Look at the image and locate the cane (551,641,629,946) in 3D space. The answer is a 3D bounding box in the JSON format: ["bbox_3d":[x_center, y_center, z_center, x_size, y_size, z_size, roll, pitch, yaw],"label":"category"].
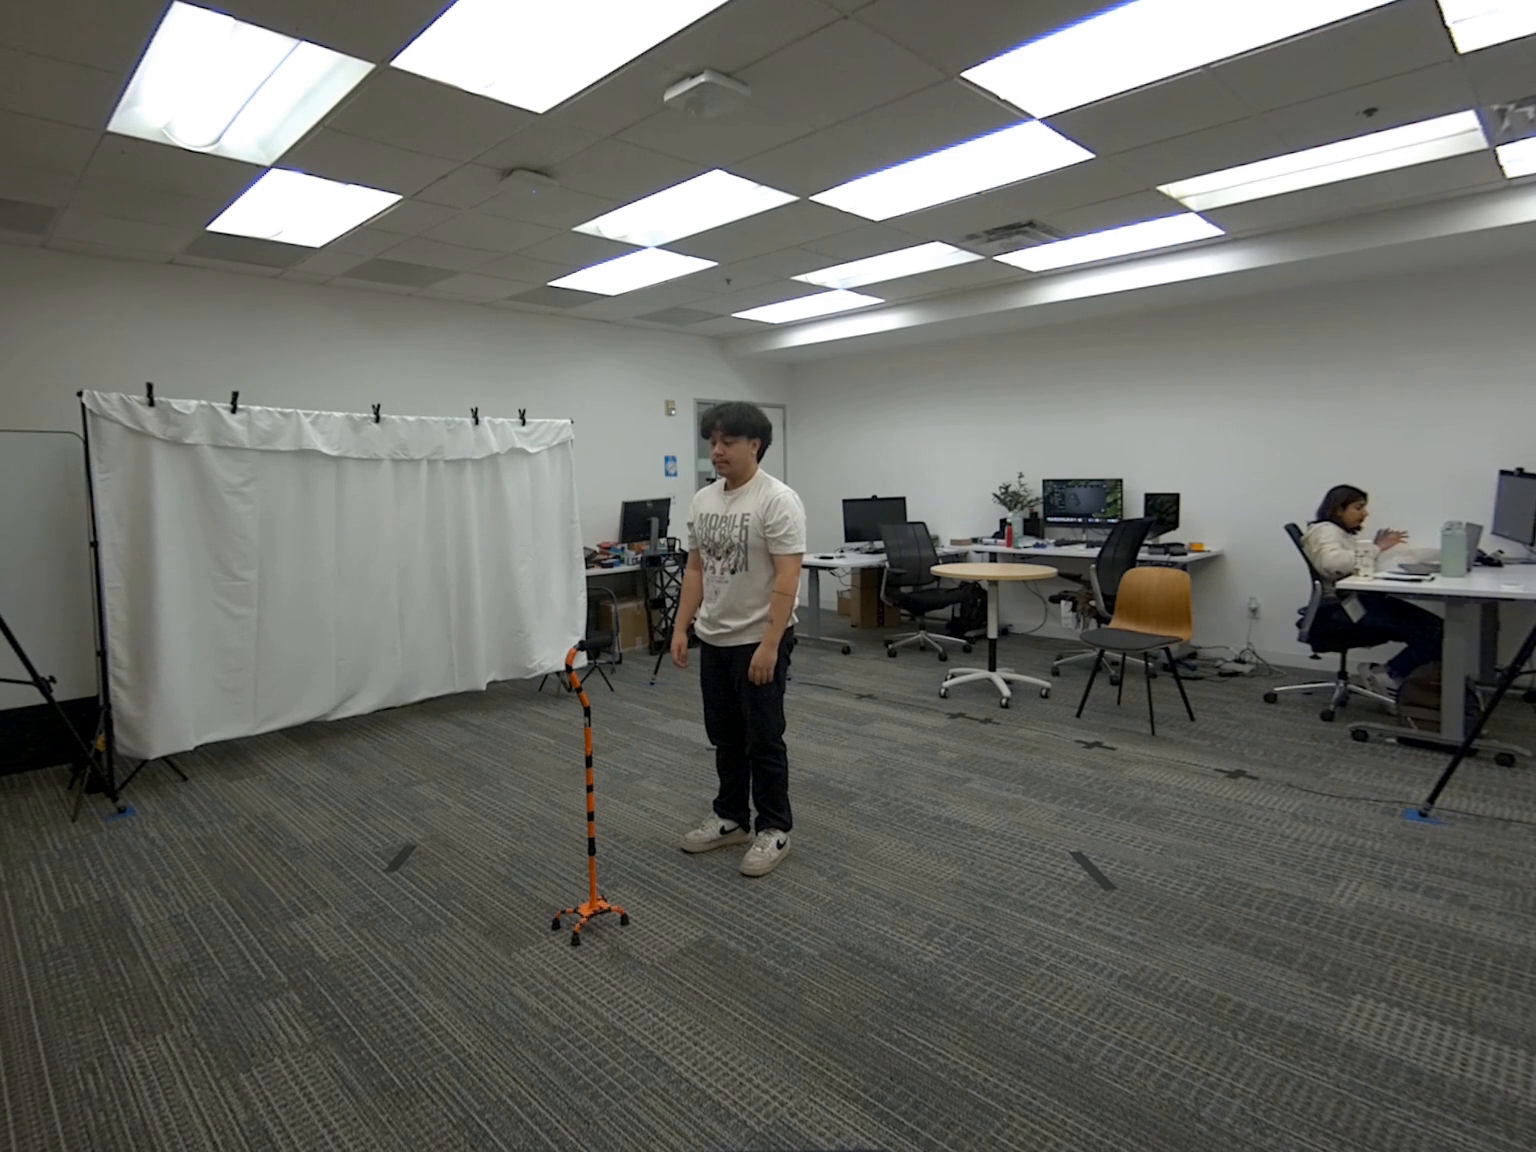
[{"bbox_3d":[-0.559,0.650,2.657,0.201,0.904,0.156,-5,6,-43],"label":"cane"}]
